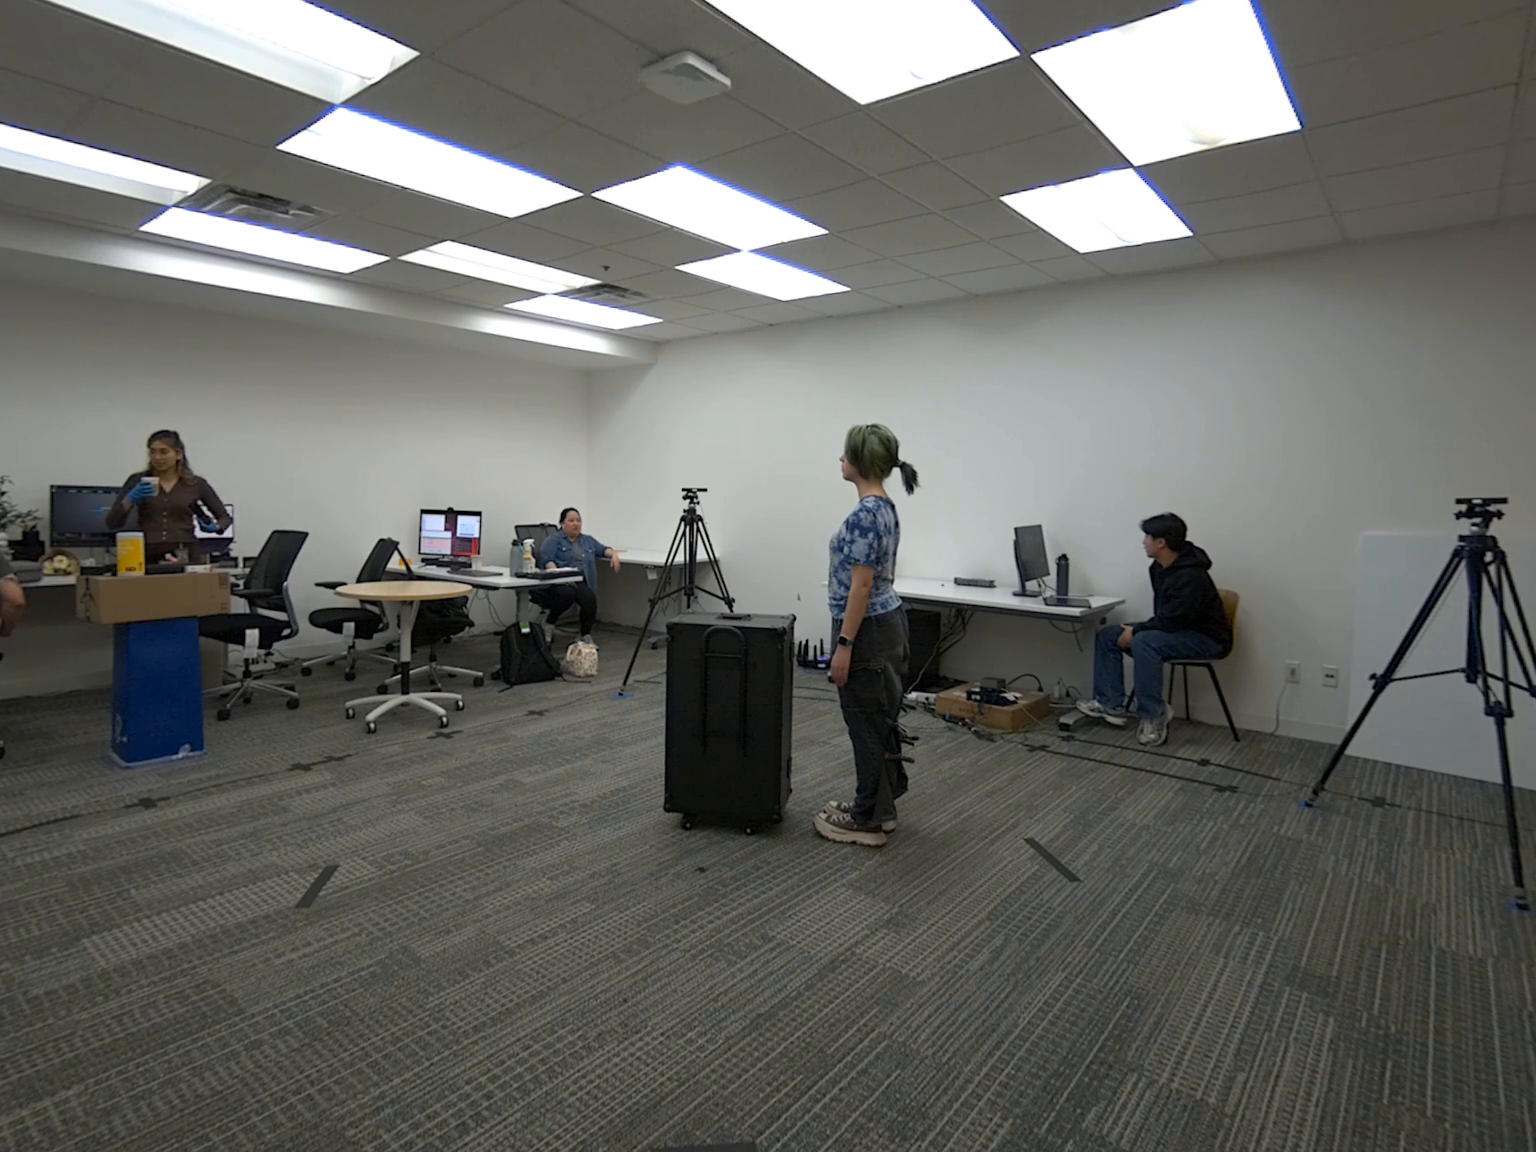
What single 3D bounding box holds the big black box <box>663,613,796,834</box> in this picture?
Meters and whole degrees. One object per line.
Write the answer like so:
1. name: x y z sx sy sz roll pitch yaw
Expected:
1. big black box: -0.162 0.605 3.570 0.528 0.858 0.393 2 4 11
